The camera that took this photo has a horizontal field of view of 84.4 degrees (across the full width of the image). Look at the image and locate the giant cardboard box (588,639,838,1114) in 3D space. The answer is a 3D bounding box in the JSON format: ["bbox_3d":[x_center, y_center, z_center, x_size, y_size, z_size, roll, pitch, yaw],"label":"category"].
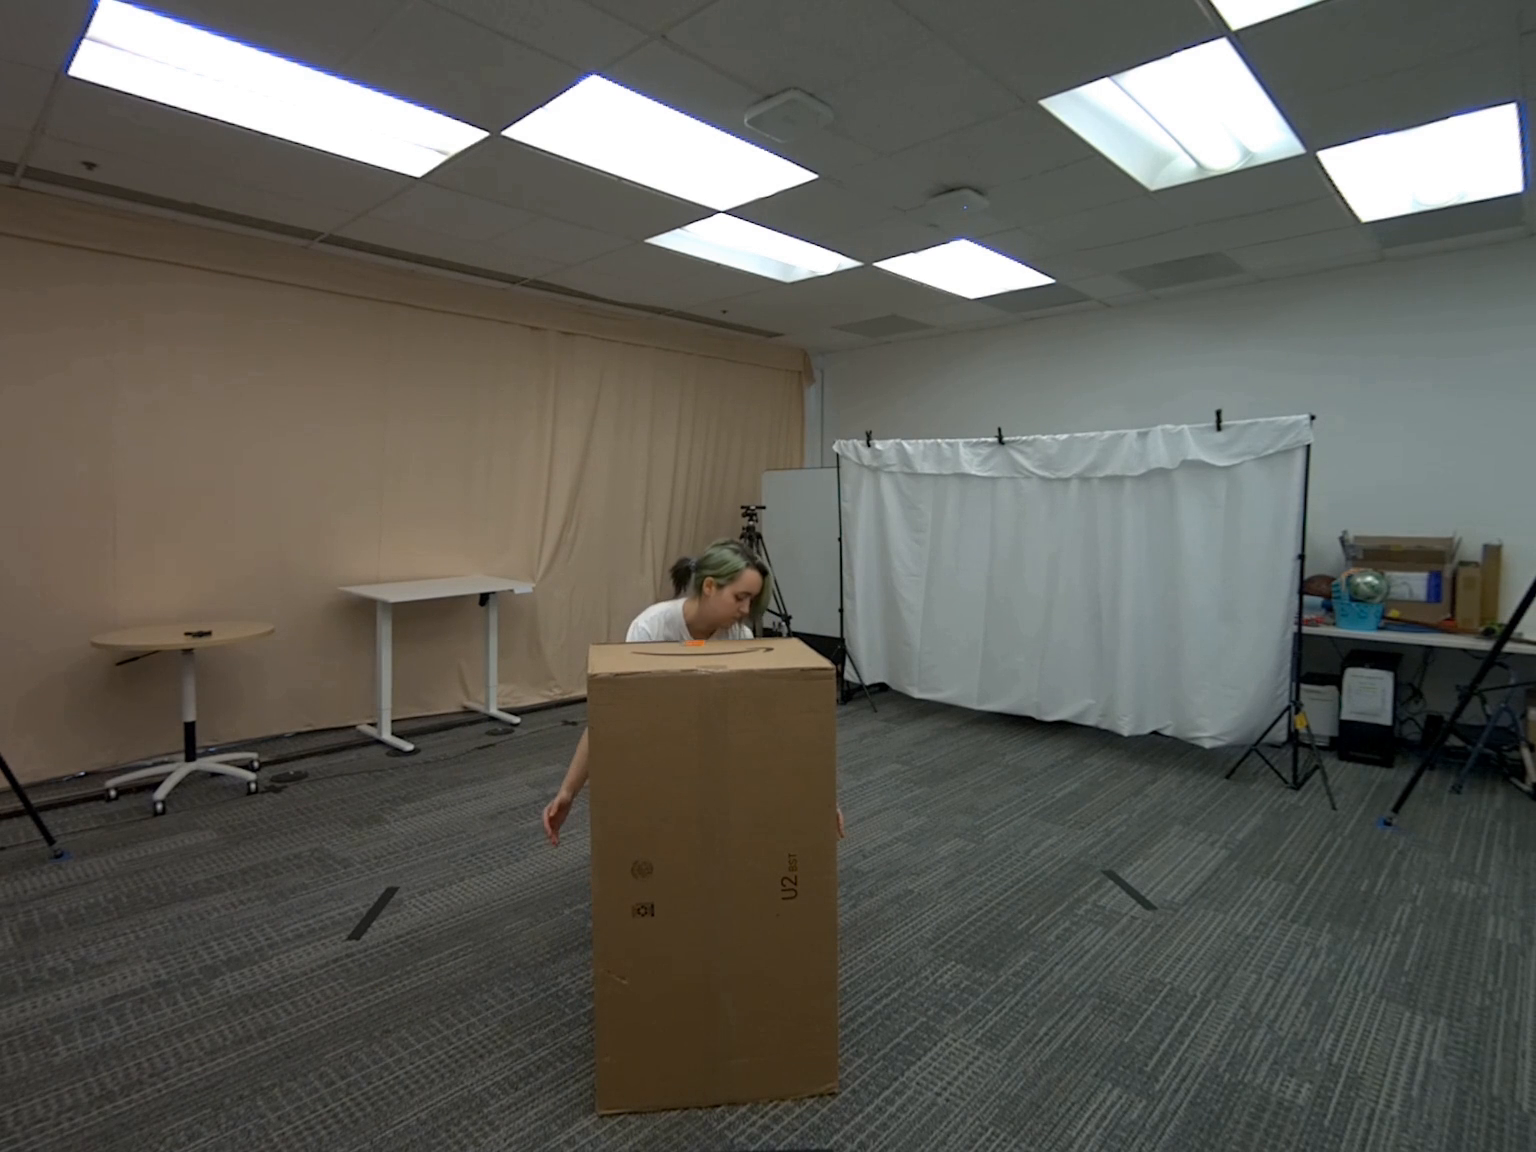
[{"bbox_3d":[-0.155,0.711,2.136,0.578,1.024,0.452,-1,4,-9],"label":"giant cardboard box"}]
